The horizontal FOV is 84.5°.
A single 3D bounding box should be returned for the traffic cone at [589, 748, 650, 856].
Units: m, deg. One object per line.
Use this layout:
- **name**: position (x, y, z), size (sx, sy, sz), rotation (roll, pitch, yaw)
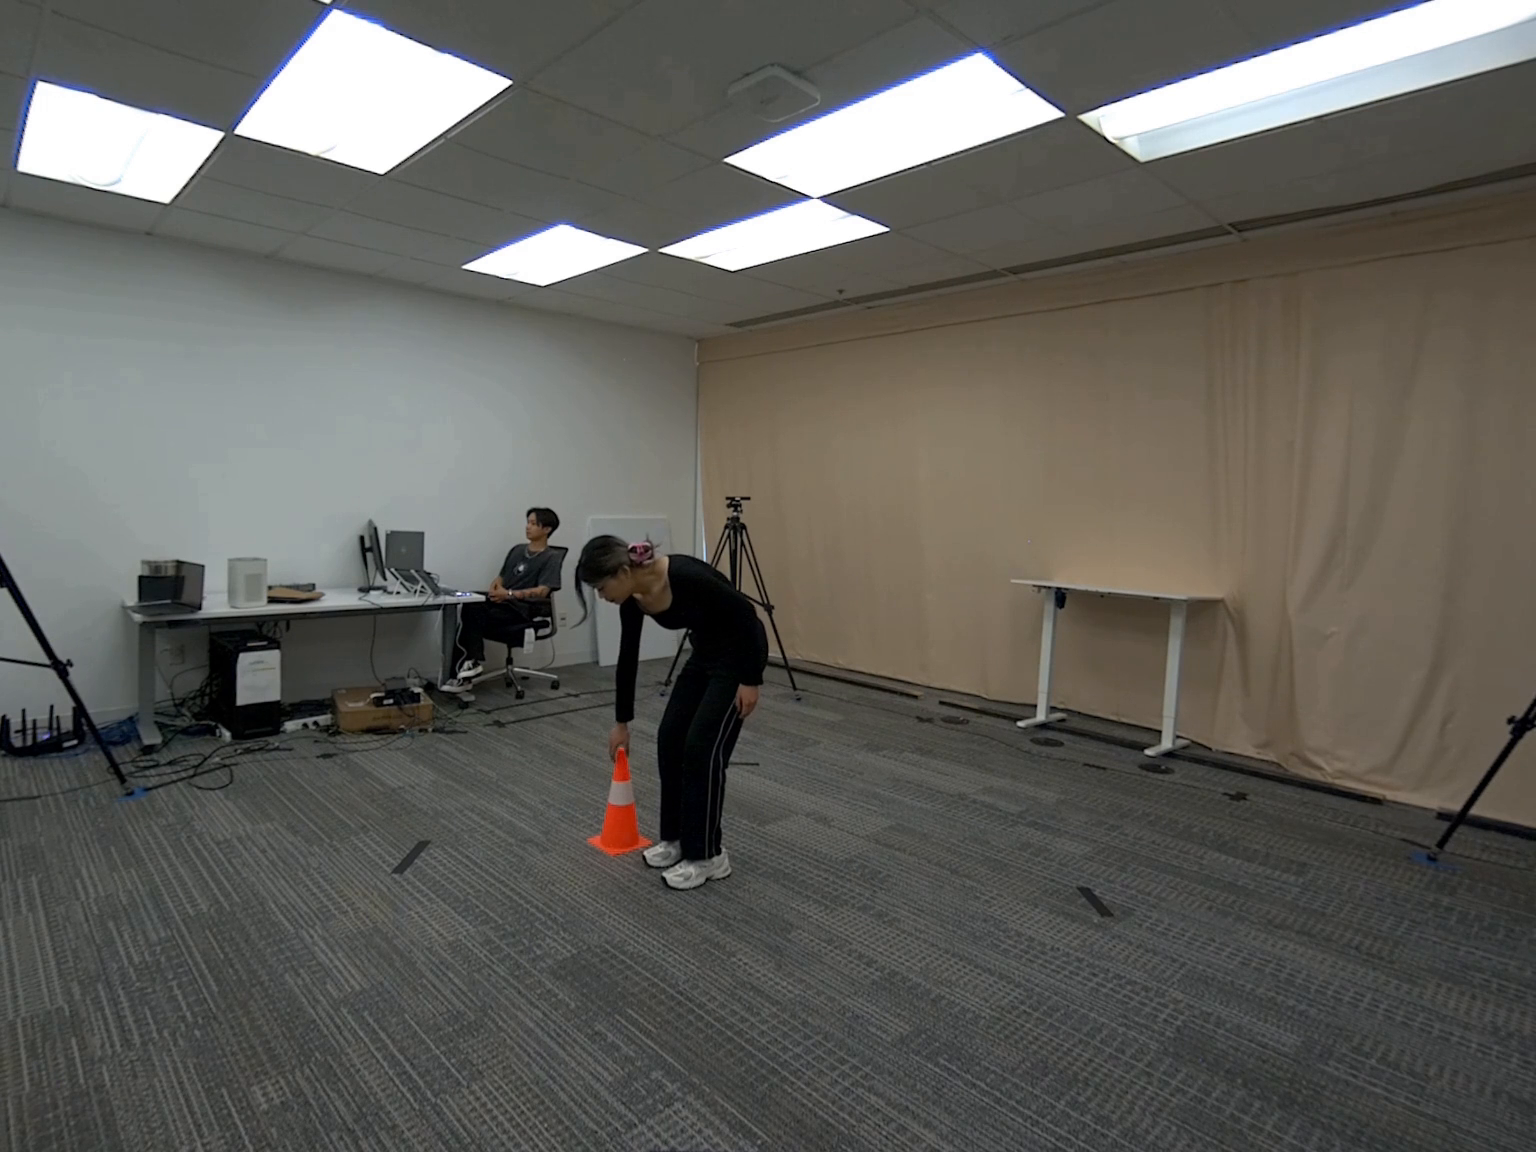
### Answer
- **traffic cone**: position (-0.604, 0.885, 3.381), size (0.201, 0.383, 0.207), rotation (0, 3, -27)
